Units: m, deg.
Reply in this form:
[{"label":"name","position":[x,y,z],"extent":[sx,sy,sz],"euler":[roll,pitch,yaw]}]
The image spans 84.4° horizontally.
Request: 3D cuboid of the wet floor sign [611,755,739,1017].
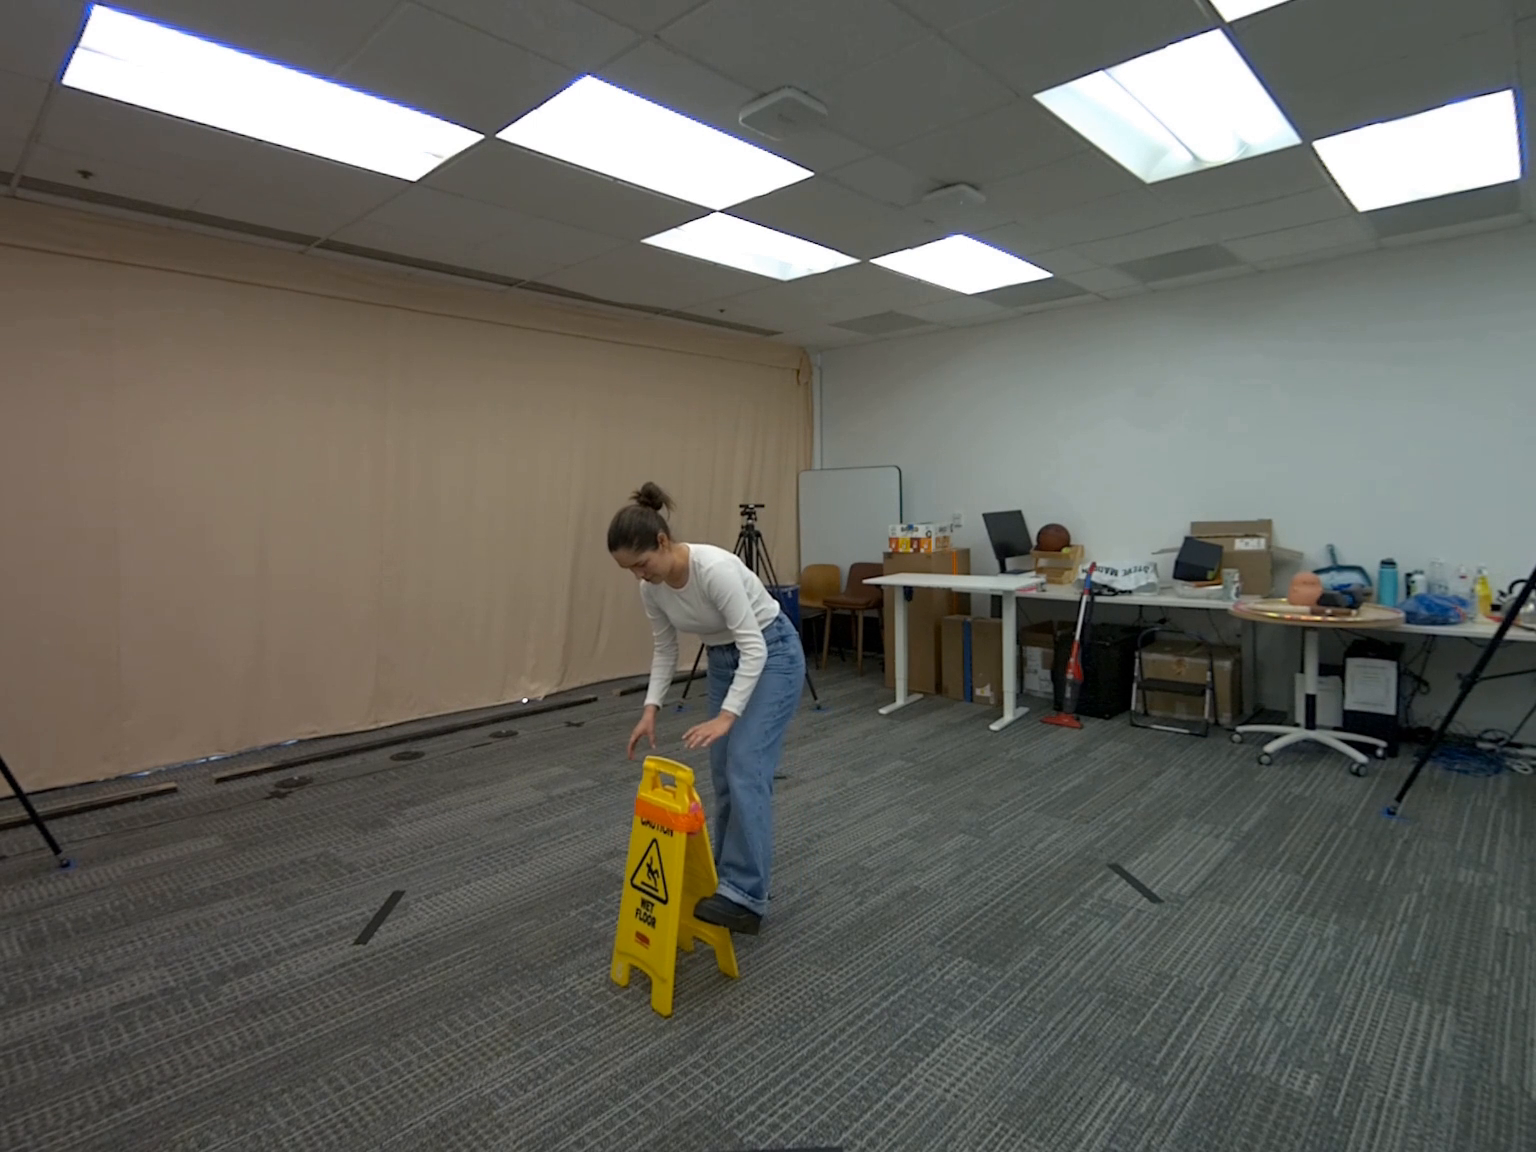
[{"label":"wet floor sign","position":[-0.282,0.865,2.473],"extent":[0.291,0.645,0.281],"euler":[2,4,44]}]
